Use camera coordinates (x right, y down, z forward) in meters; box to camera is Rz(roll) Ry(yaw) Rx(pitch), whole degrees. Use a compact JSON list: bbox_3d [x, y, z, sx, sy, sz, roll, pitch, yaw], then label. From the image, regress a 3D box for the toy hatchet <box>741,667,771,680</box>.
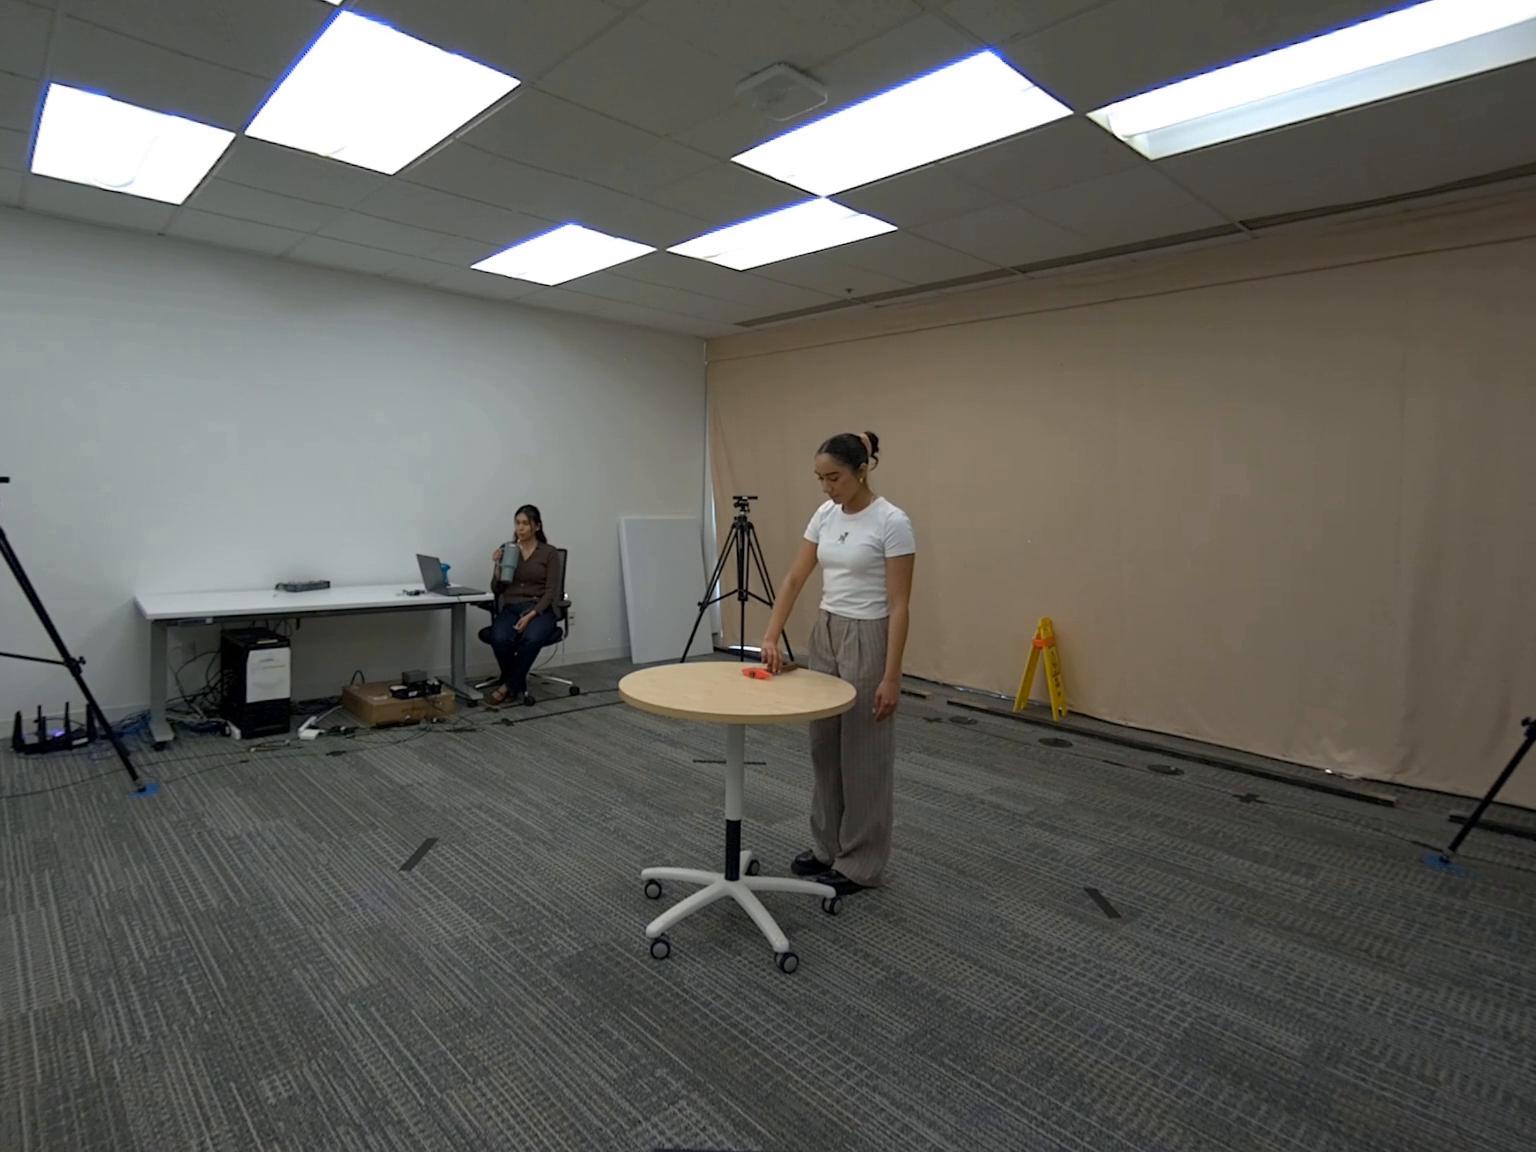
[{"bbox_3d":[0.002,0.329,2.961,0.133,0.029,0.265,0,2,24],"label":"toy hatchet"}]
